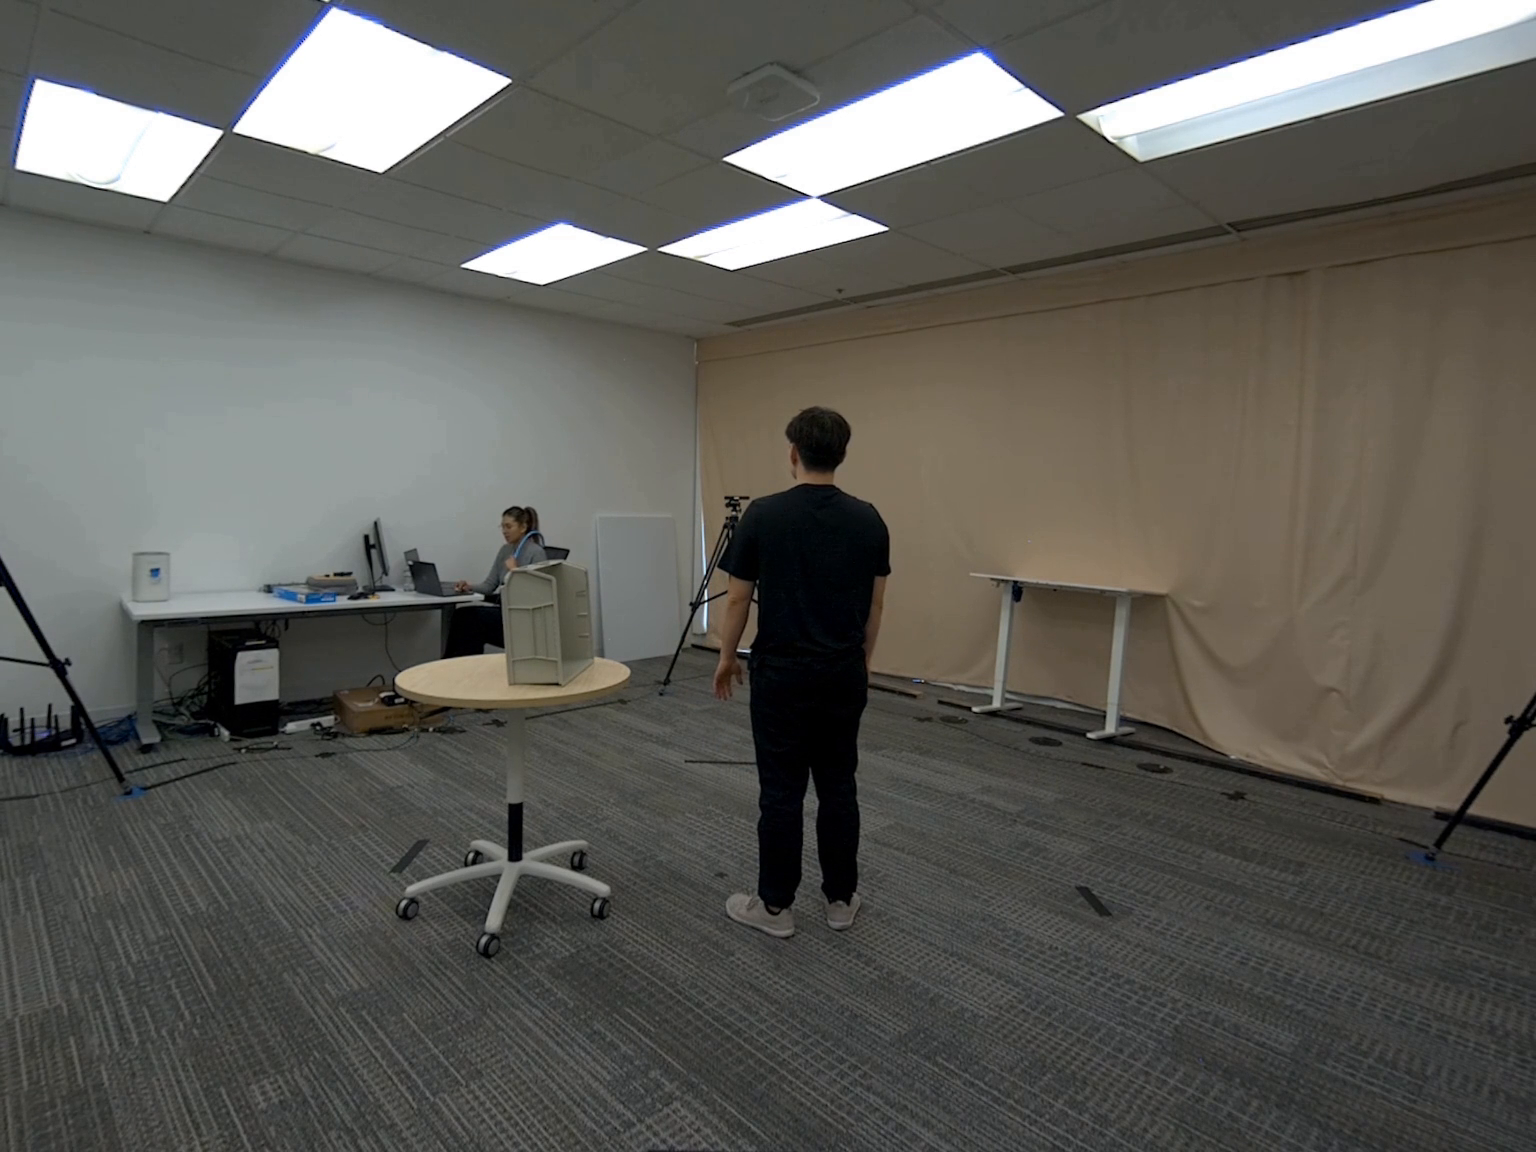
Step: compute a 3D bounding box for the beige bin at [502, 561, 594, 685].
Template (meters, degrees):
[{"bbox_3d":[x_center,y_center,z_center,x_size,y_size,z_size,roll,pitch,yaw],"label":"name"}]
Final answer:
[{"bbox_3d":[-0.727,0.148,2.843,0.189,0.376,0.422,-2,4,2],"label":"beige bin"}]
